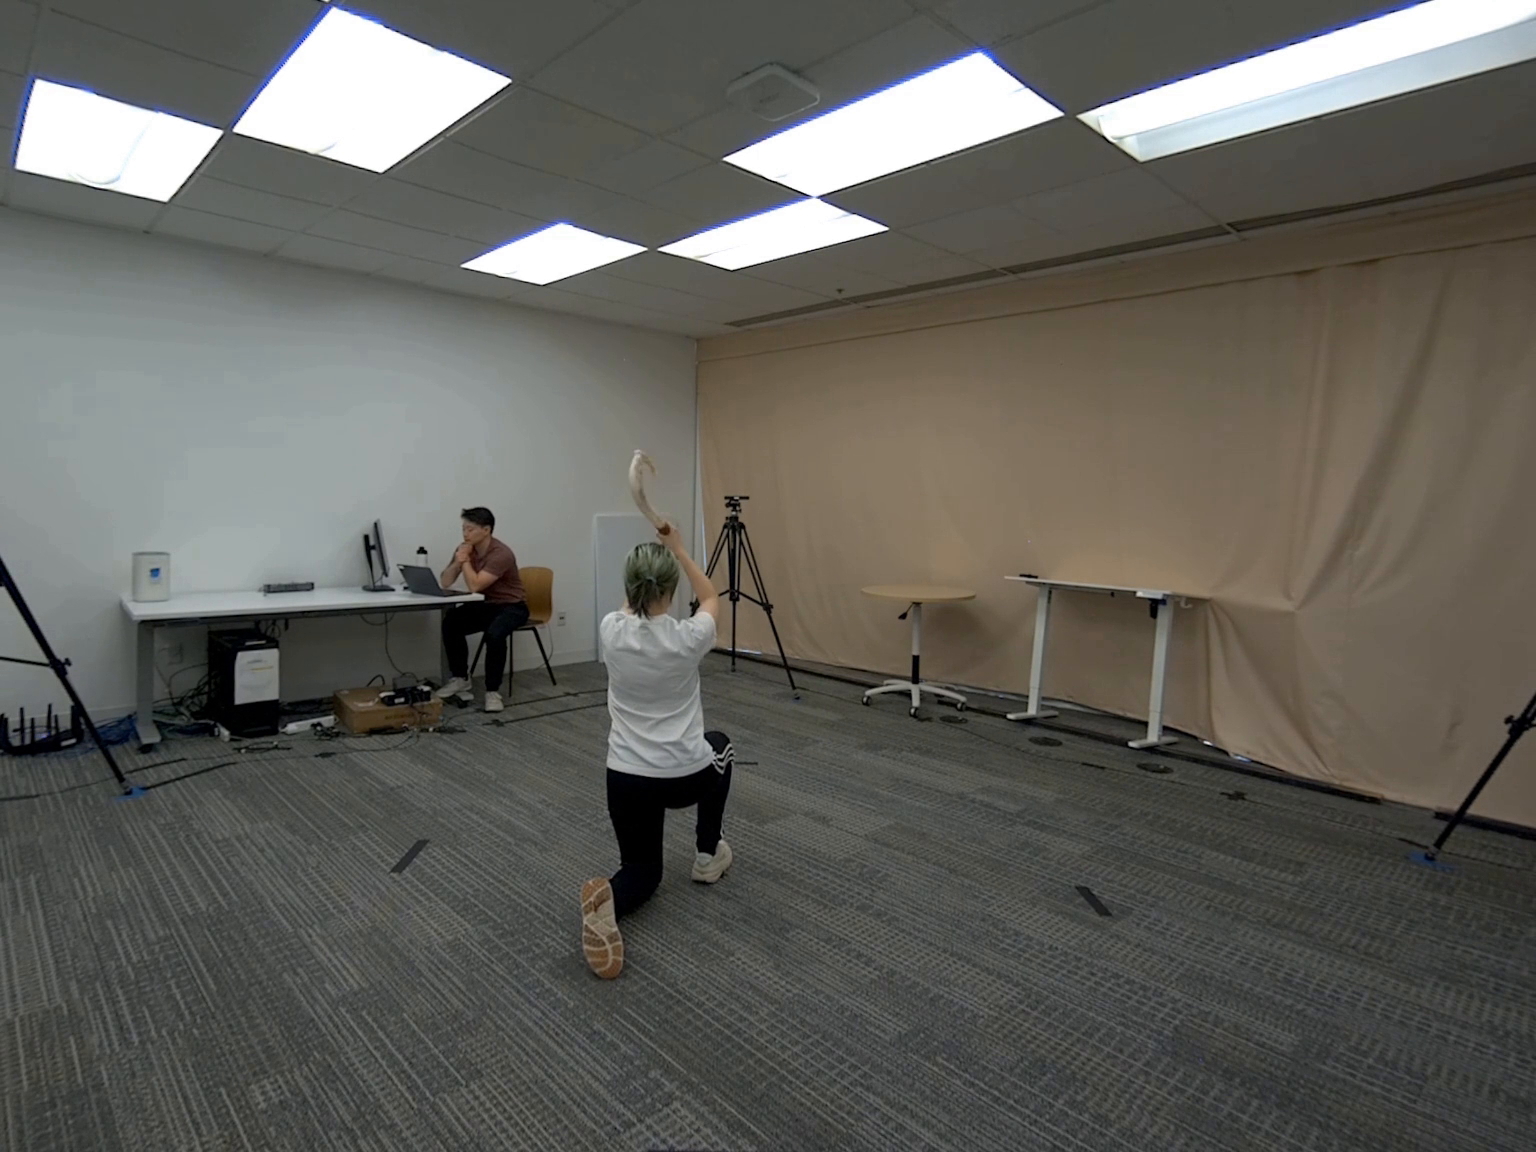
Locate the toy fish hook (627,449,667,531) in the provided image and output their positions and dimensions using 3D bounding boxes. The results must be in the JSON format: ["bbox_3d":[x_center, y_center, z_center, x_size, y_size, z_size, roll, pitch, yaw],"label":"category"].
[{"bbox_3d":[-0.411,-0.245,3.117,0.049,0.228,0.492,0,-36,15],"label":"toy fish hook"}]
